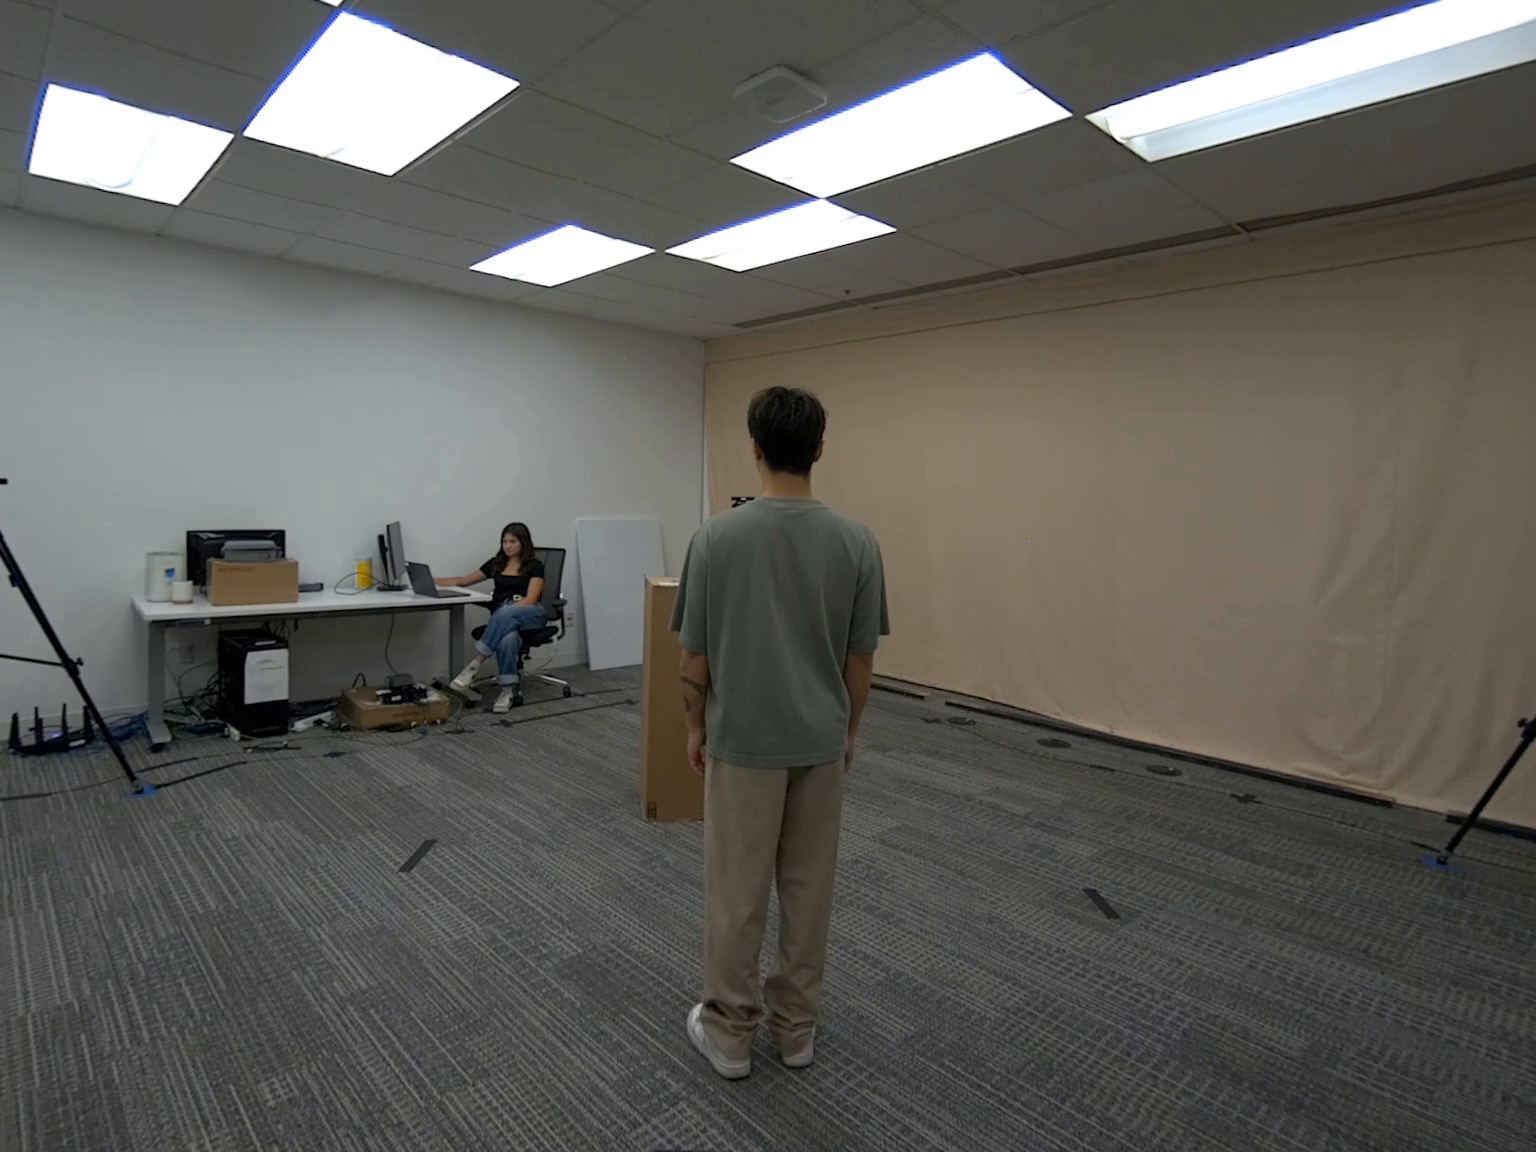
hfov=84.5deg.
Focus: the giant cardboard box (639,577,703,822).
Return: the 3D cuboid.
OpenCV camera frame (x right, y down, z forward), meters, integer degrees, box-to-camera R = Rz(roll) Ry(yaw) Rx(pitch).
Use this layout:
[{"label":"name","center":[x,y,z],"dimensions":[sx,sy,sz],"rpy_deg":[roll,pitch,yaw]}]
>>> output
[{"label":"giant cardboard box","center":[-0.285,0.536,3.849],"dimensions":[0.572,1.025,0.430],"rpy_deg":[1,1,-12]}]
